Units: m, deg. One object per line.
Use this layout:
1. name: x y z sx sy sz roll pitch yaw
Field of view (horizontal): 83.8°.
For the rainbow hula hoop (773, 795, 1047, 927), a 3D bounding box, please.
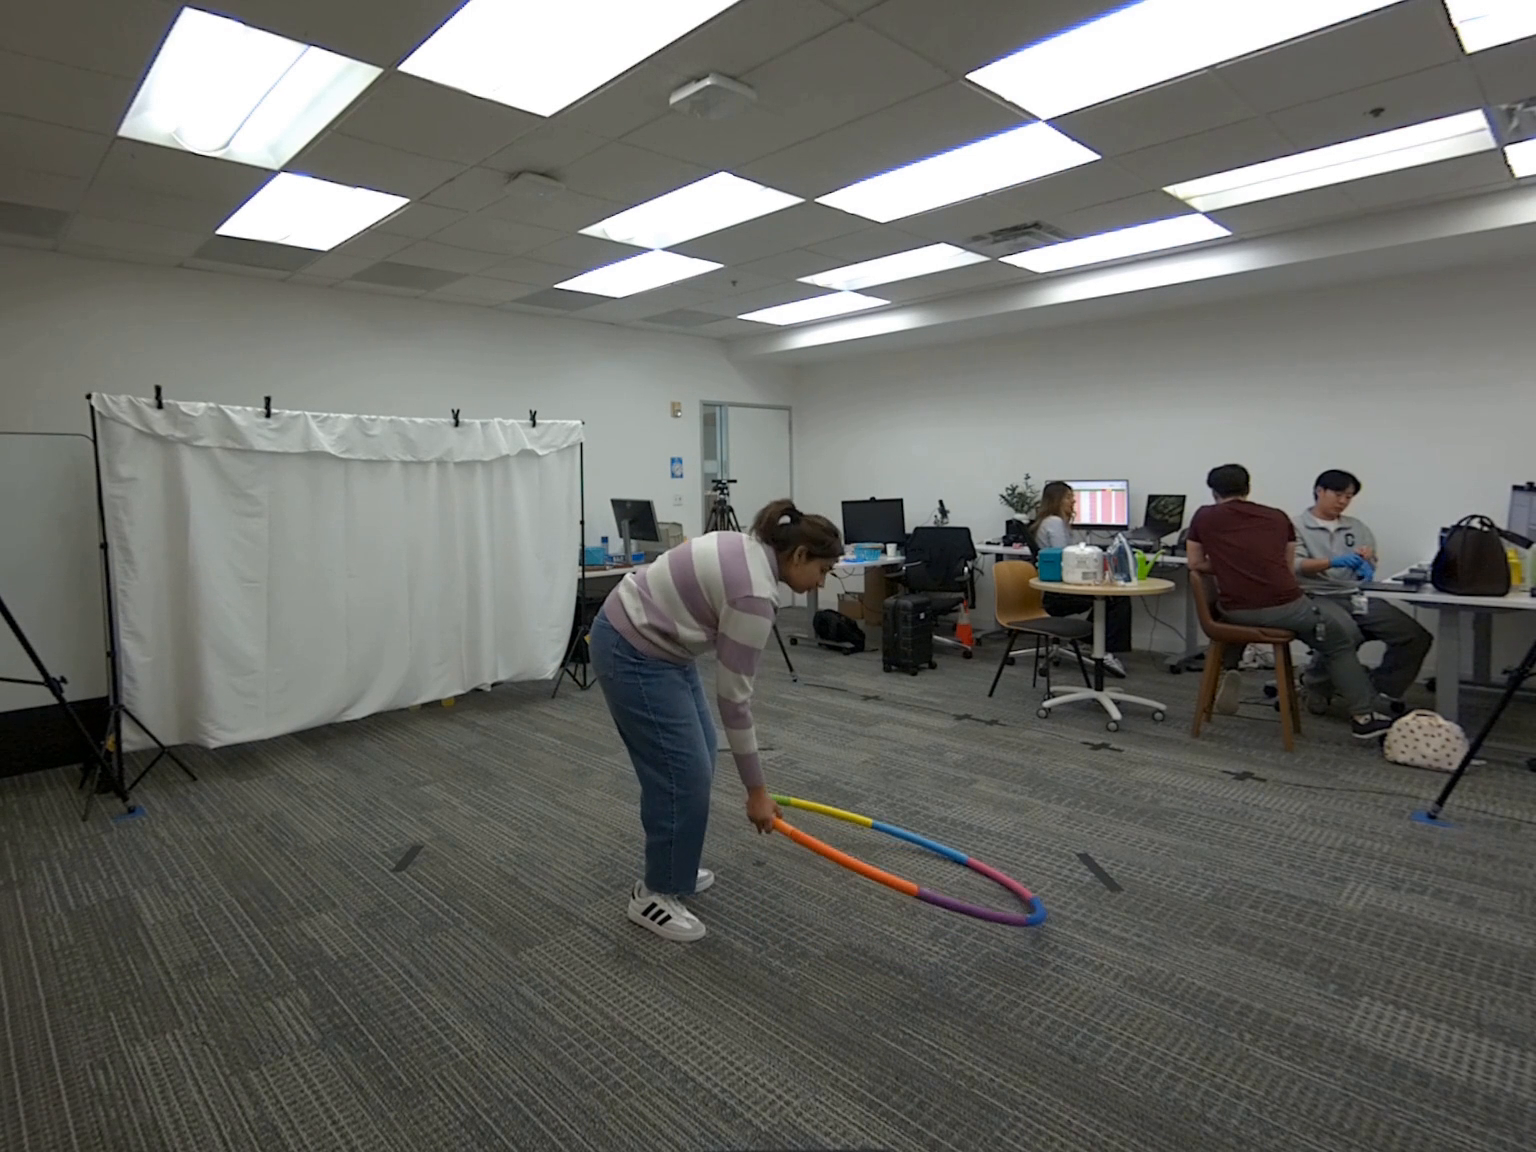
1. rainbow hula hoop: 0.406 0.887 2.763 0.981 0.036 0.974 19 -5 0
